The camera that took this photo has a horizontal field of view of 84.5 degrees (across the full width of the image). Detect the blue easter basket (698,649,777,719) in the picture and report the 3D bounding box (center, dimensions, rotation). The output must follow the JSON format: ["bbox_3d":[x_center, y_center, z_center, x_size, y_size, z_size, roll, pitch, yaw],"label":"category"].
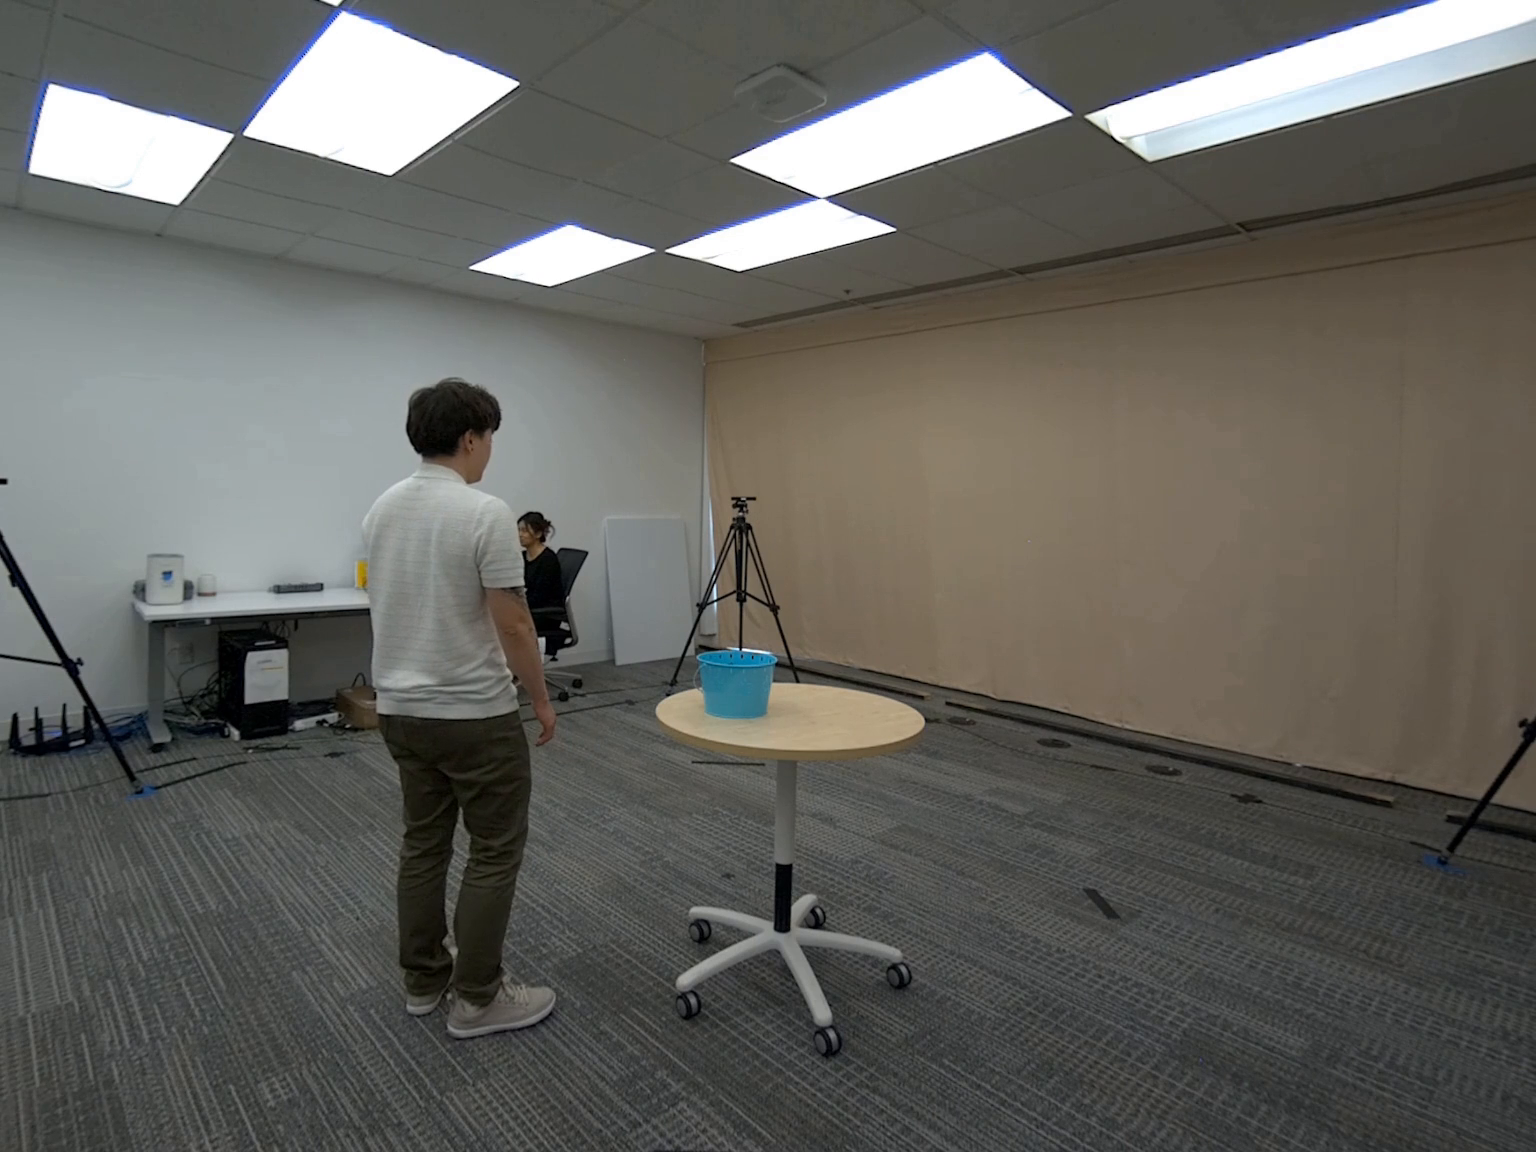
[{"bbox_3d":[-0.096,0.314,2.415,0.243,0.155,0.244,1,4,-1],"label":"blue easter basket"}]
